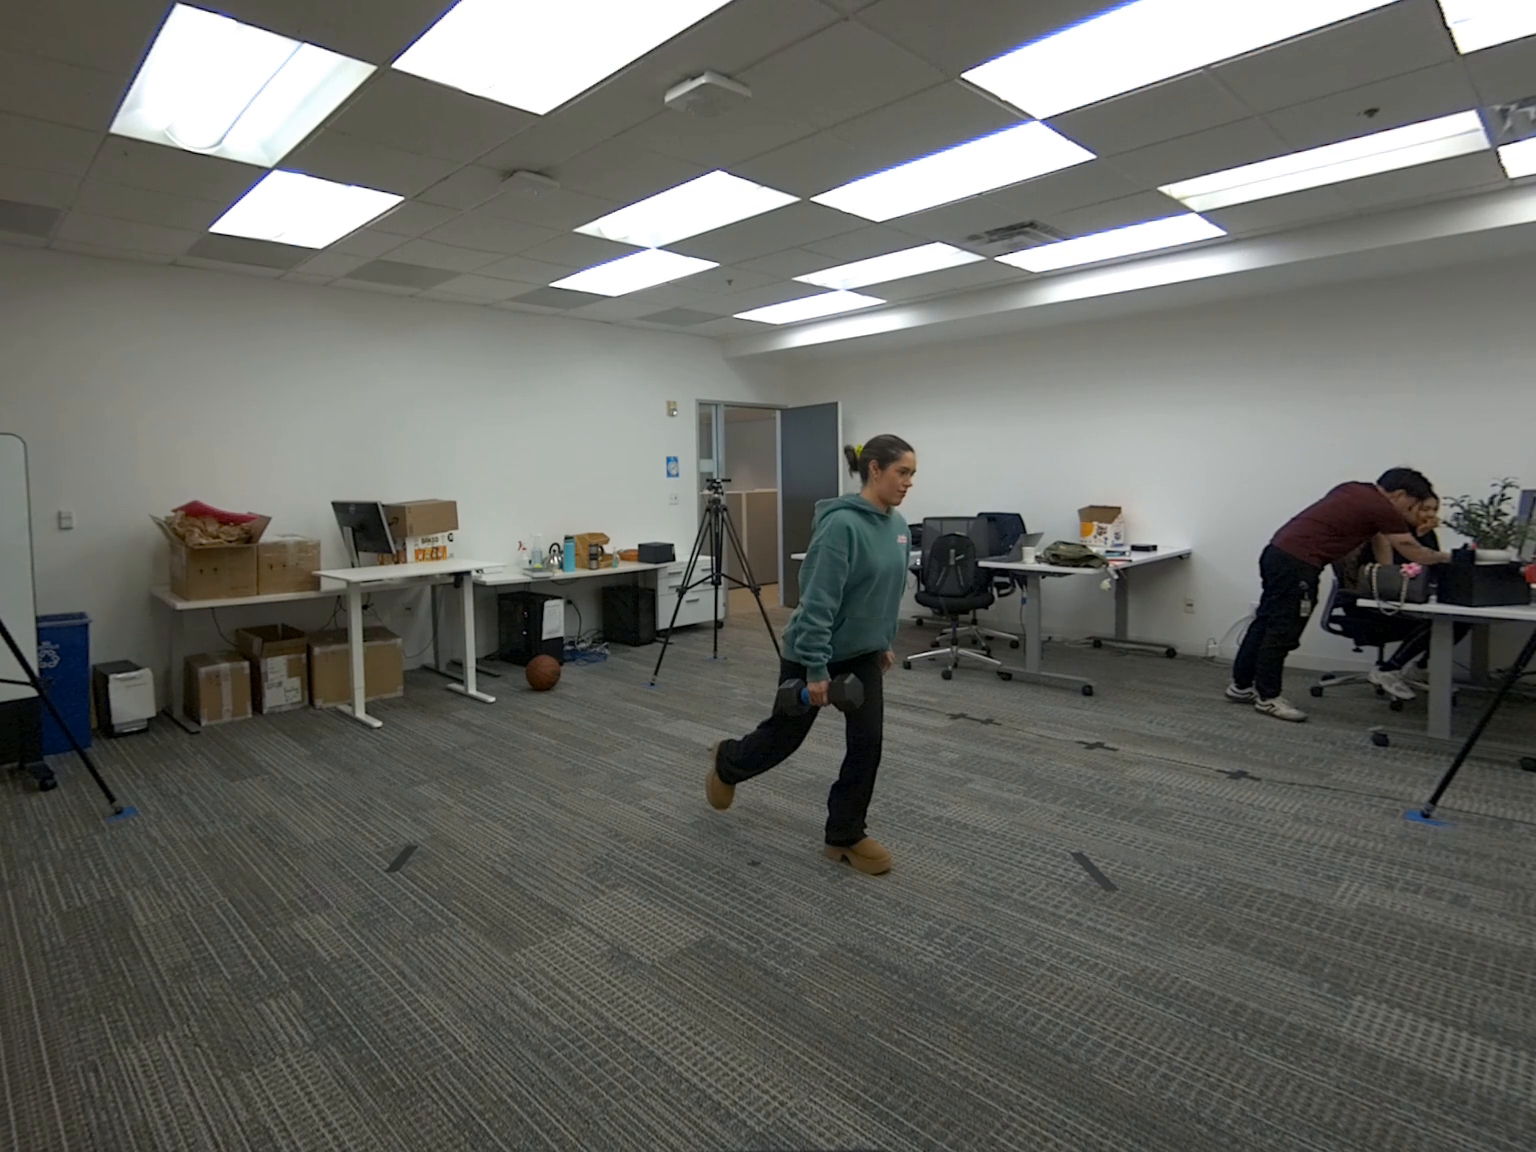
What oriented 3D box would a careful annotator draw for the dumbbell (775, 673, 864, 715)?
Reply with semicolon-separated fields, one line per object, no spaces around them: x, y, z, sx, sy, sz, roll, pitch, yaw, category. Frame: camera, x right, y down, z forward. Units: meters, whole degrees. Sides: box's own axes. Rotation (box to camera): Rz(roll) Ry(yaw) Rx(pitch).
0.175;0.411;2.888;0.300;0.110;0.119;-13;-46;39;dumbbell
